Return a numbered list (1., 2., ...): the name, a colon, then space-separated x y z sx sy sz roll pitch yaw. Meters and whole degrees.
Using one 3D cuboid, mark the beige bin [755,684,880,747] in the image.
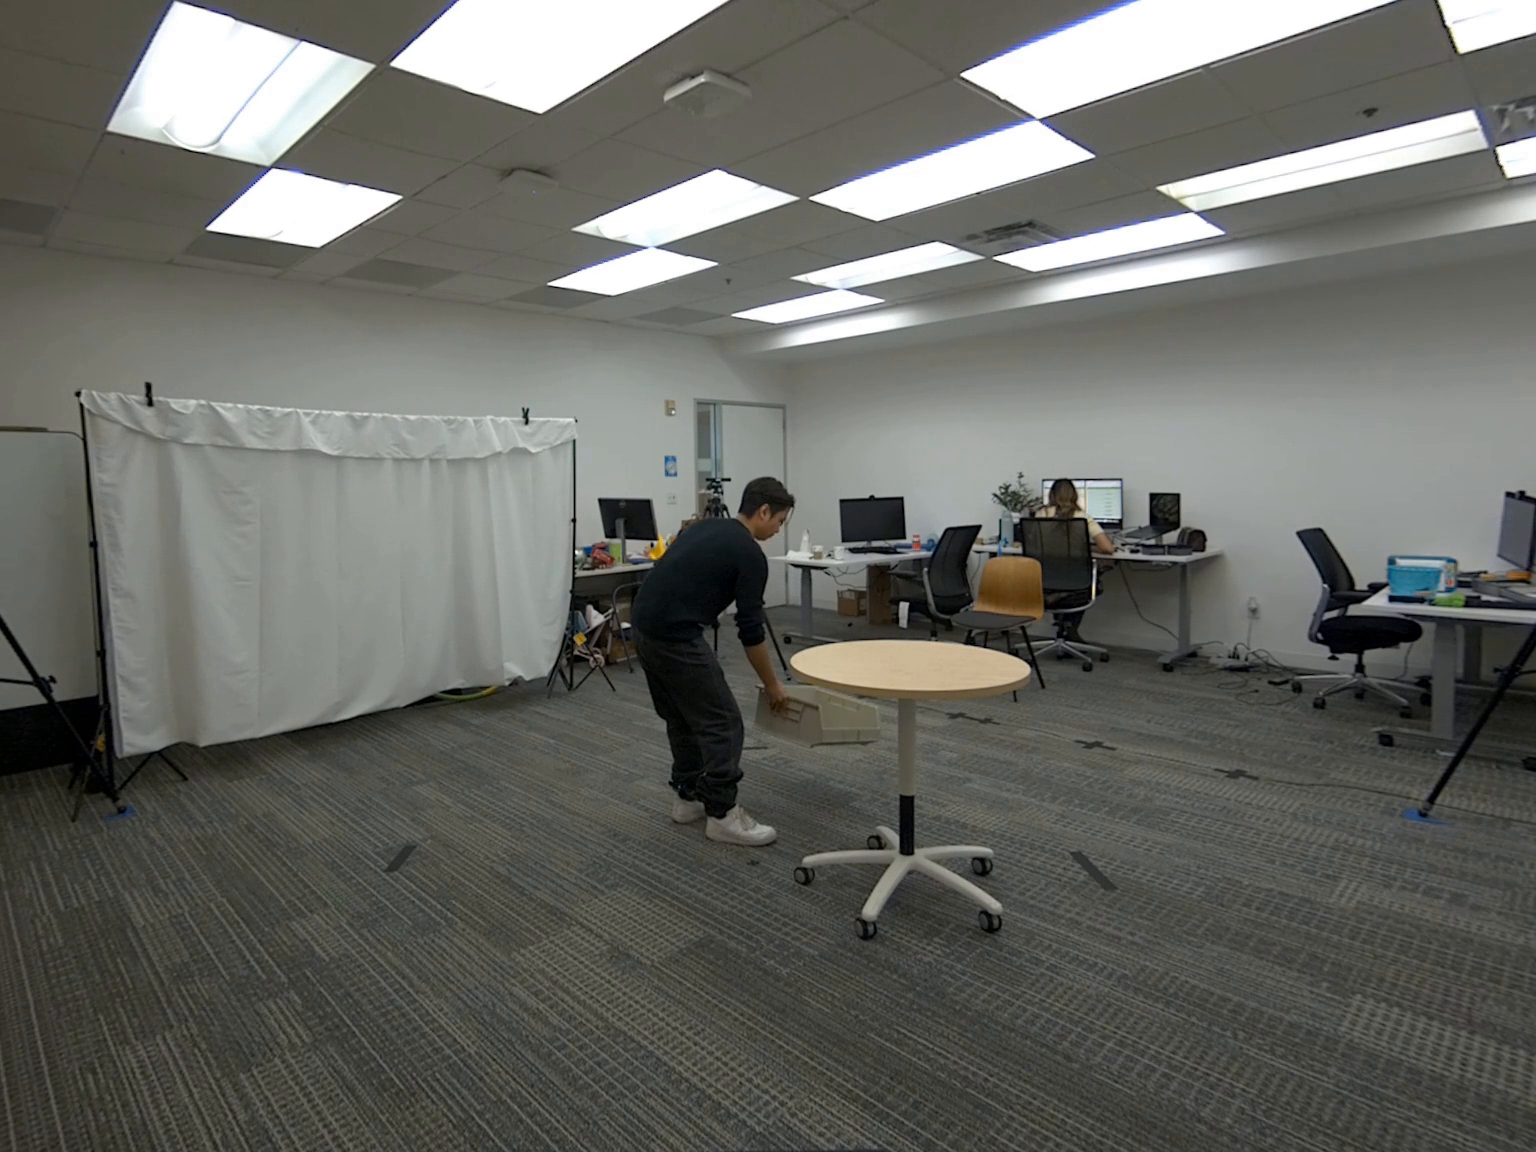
1. beige bin: 0.218 0.596 3.619 0.390 0.189 0.409 10 1 40
